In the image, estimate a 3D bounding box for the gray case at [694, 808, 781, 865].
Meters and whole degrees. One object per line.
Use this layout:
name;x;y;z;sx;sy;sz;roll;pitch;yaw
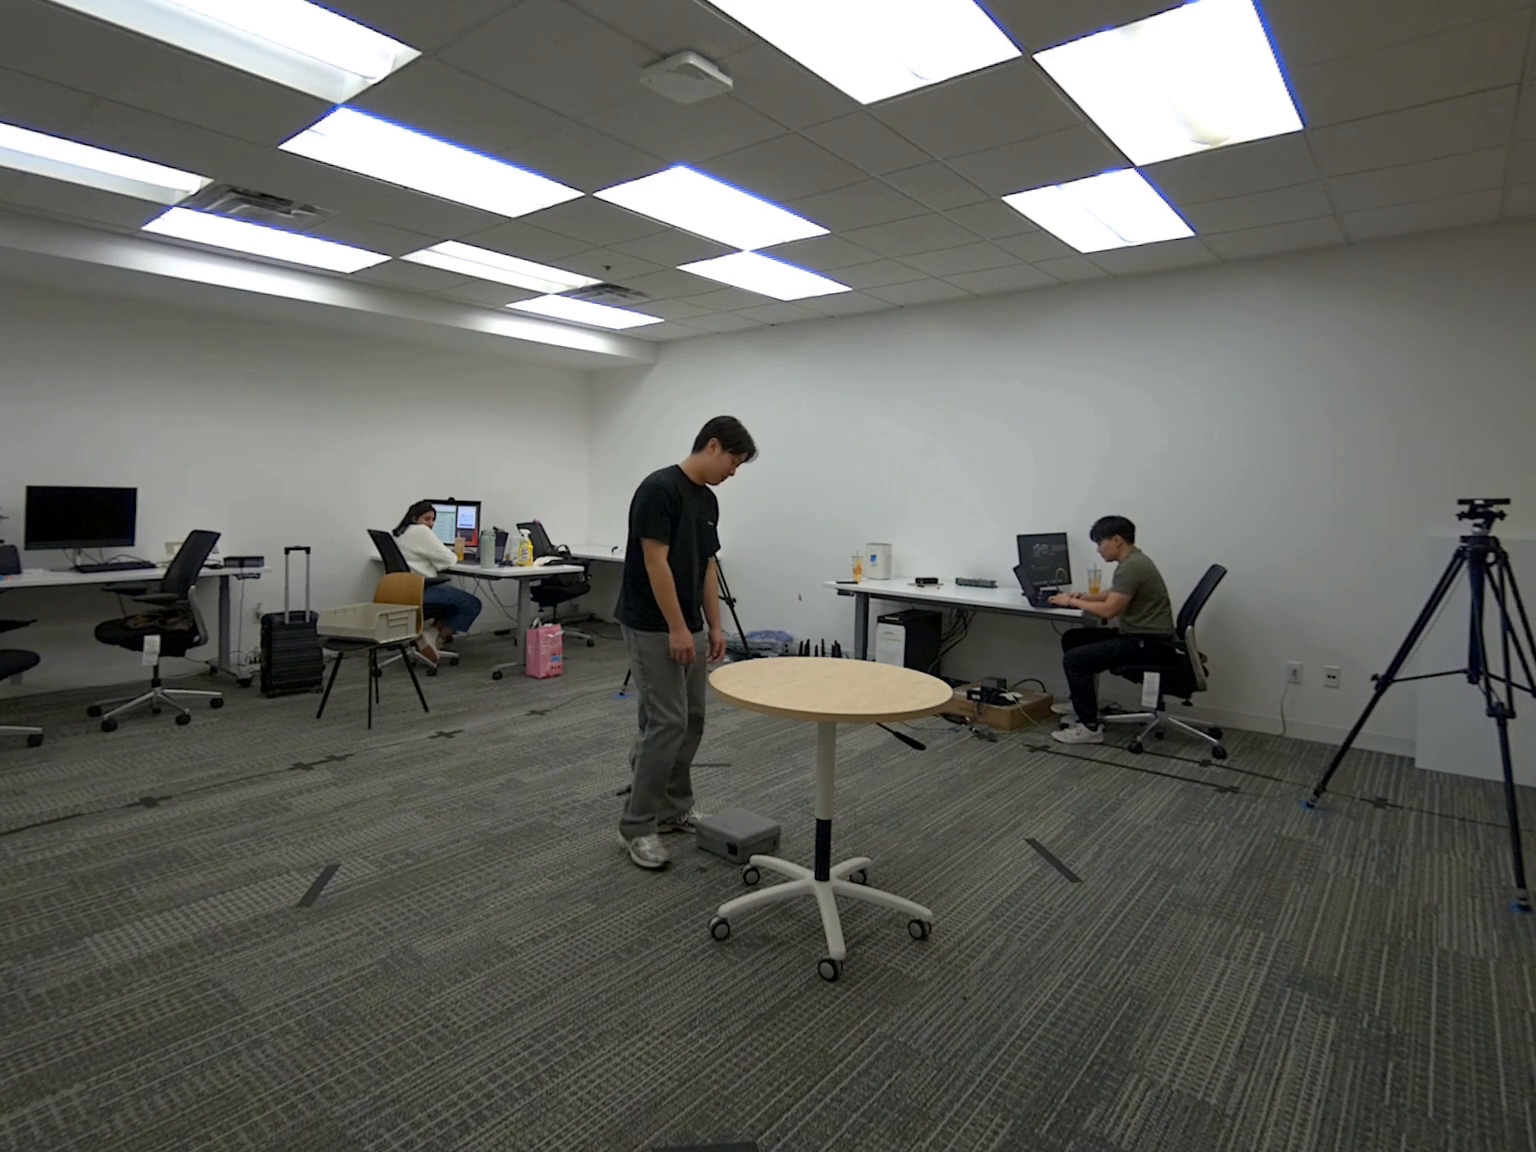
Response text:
gray case;-0.118;0.999;3.311;0.272;0.103;0.278;6;6;41
